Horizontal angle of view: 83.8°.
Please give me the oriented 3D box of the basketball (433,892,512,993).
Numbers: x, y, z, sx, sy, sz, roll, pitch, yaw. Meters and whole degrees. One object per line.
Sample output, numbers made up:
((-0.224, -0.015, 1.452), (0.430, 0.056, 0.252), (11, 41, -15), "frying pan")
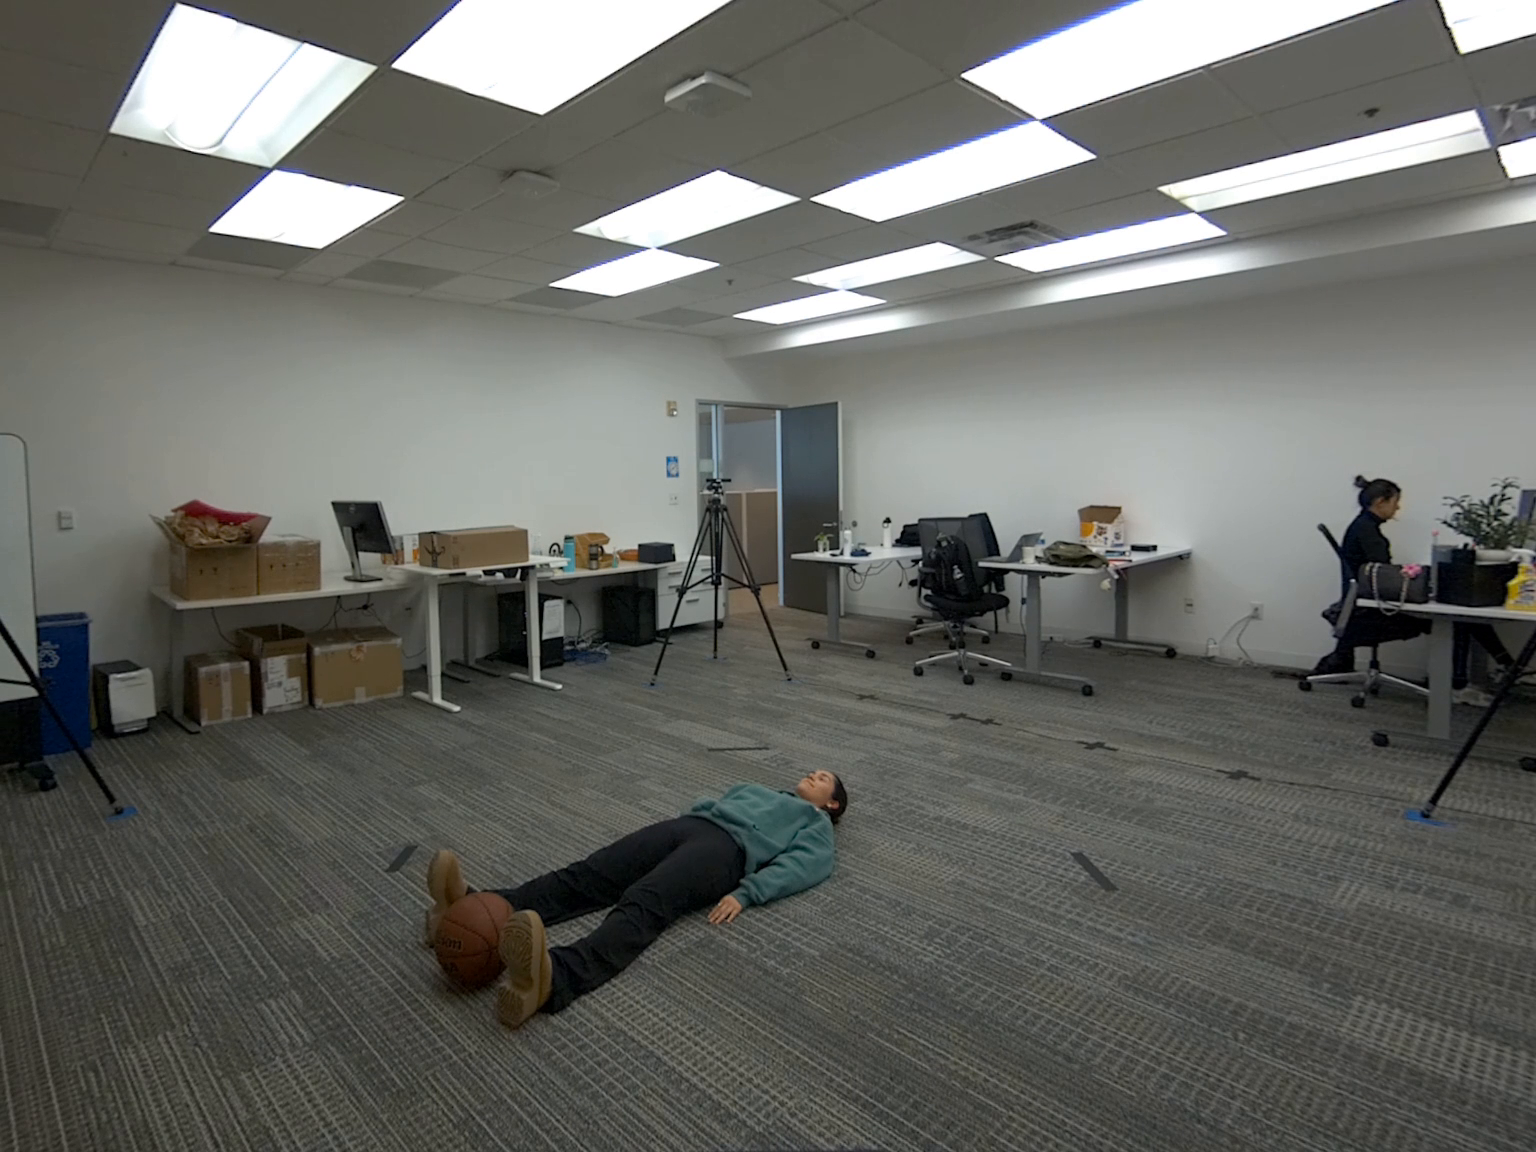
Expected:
((-0.809, 1.024, 2.418), (0.236, 0.235, 0.237), (-1, 4, -2), "basketball")
